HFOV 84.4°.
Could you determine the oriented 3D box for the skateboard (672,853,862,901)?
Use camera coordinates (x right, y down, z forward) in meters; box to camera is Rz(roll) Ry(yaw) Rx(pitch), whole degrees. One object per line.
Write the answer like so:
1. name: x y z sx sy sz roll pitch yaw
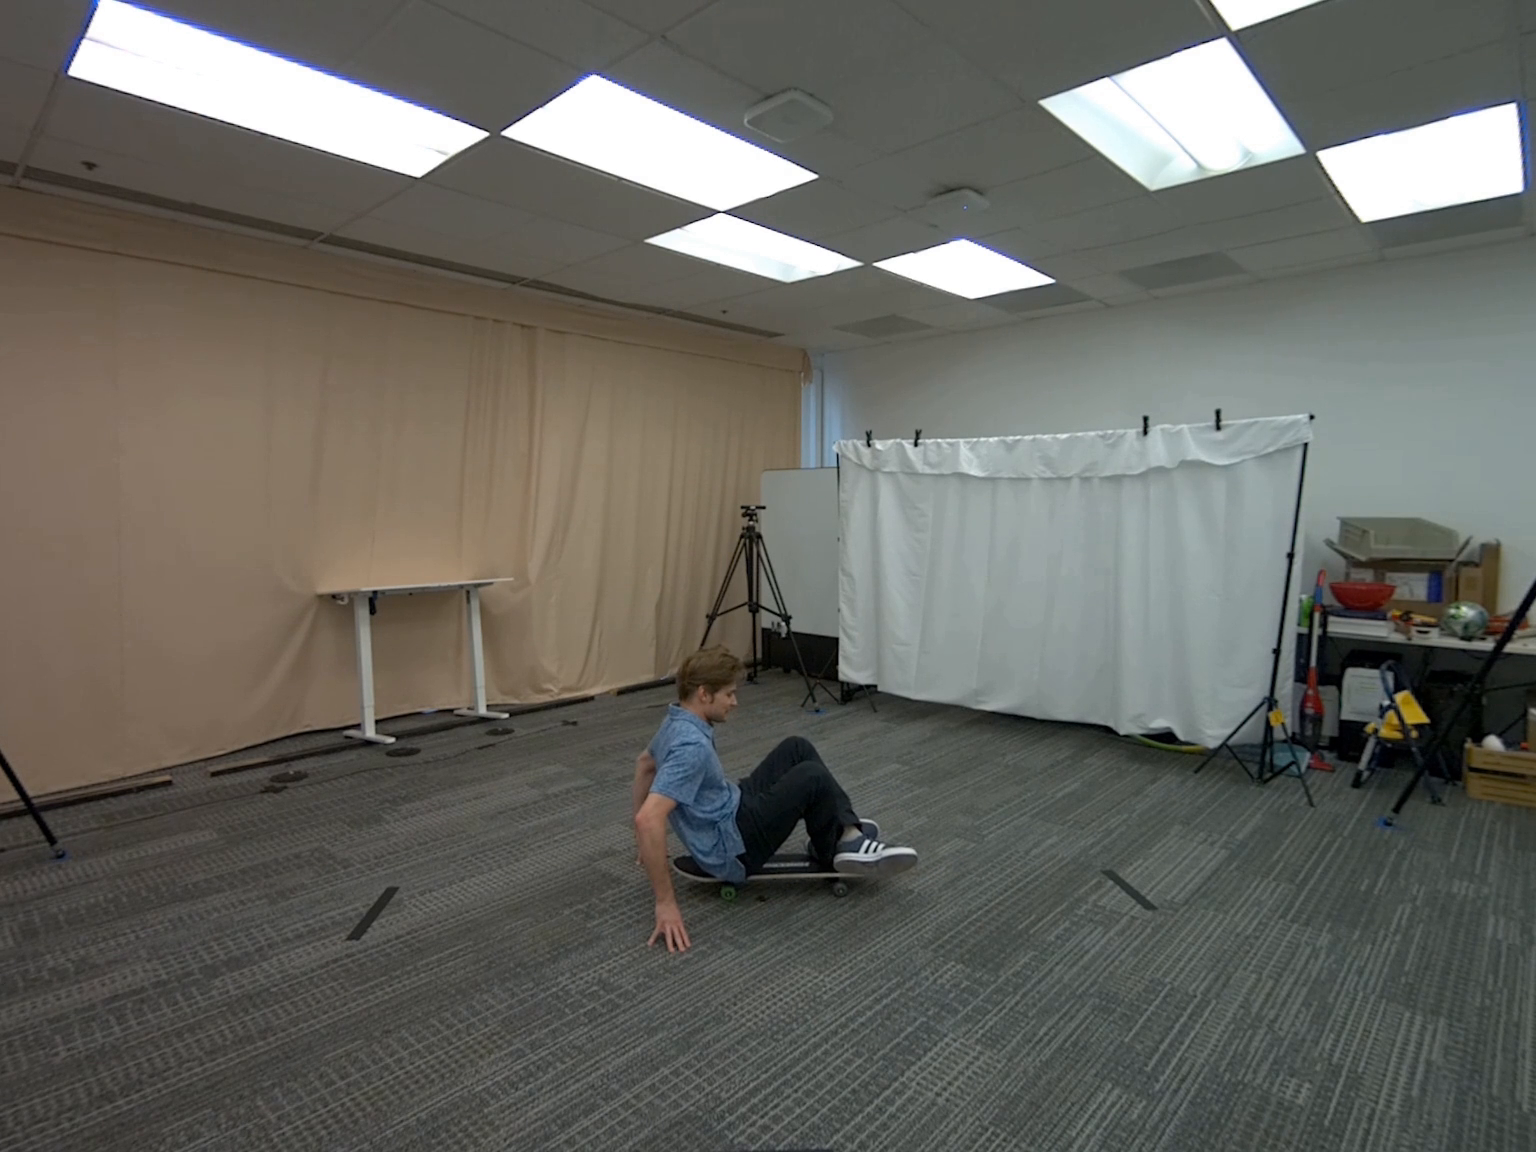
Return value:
1. skateboard: 0.060 1.088 3.070 0.783 0.110 0.194 -2 3 -3
